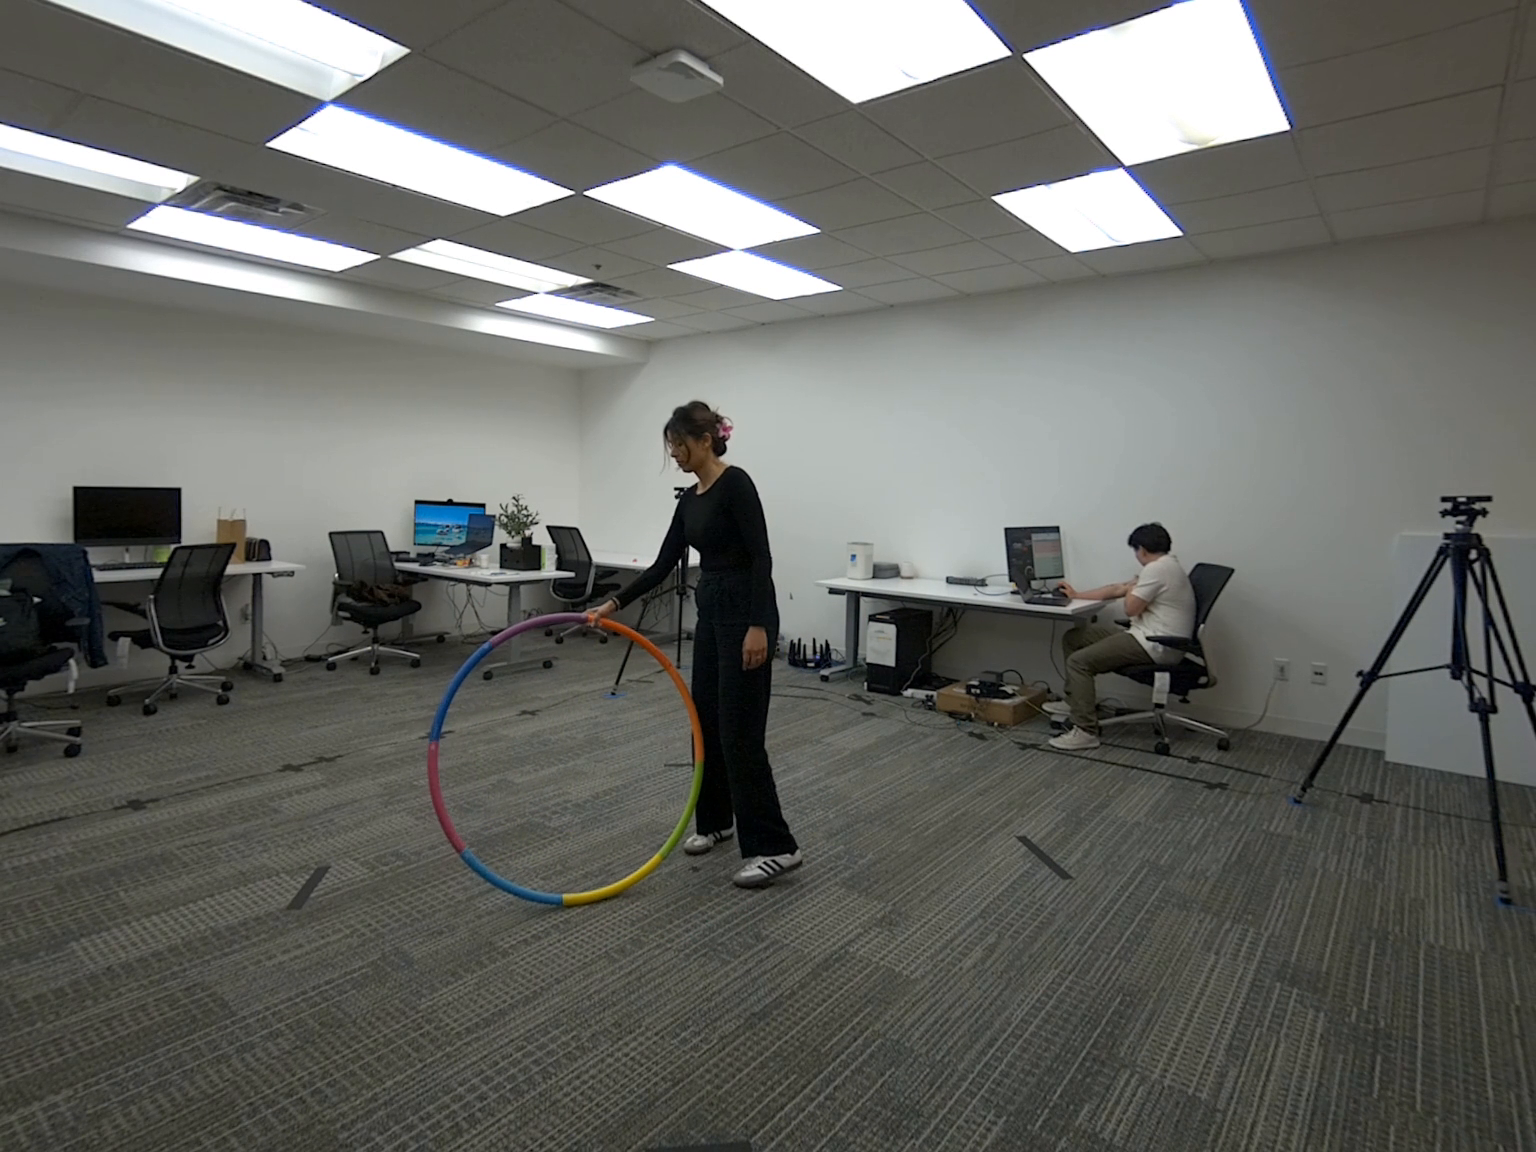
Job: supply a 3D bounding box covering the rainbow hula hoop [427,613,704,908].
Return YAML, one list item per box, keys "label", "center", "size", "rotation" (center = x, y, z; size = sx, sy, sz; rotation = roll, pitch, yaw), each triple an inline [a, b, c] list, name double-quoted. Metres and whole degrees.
- label: "rainbow hula hoop"
  center: [-0.689, 0.610, 2.970]
  size: [0.955, 0.997, 0.036]
  rotation: [-2, -19, -26]
